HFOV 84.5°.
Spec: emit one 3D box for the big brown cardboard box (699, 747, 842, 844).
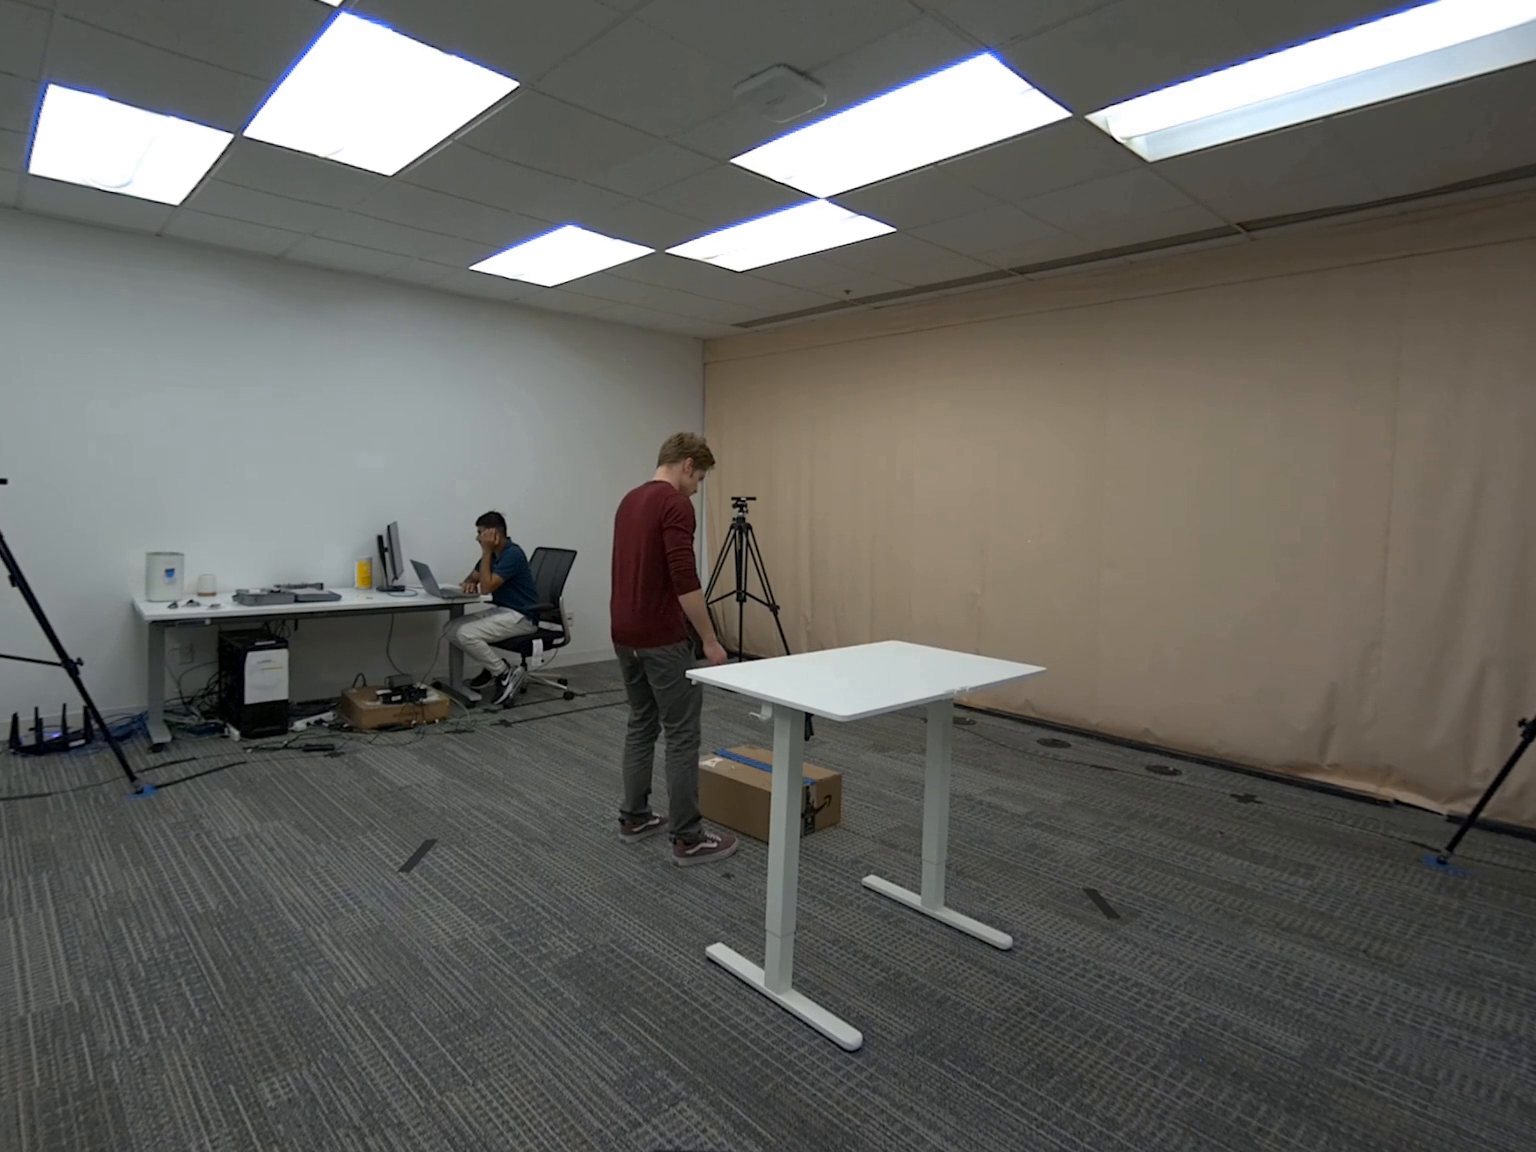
[{"bbox_3d":[-0.039,0.949,3.713,0.604,0.232,0.408,6,7,43],"label":"big brown cardboard box"}]
